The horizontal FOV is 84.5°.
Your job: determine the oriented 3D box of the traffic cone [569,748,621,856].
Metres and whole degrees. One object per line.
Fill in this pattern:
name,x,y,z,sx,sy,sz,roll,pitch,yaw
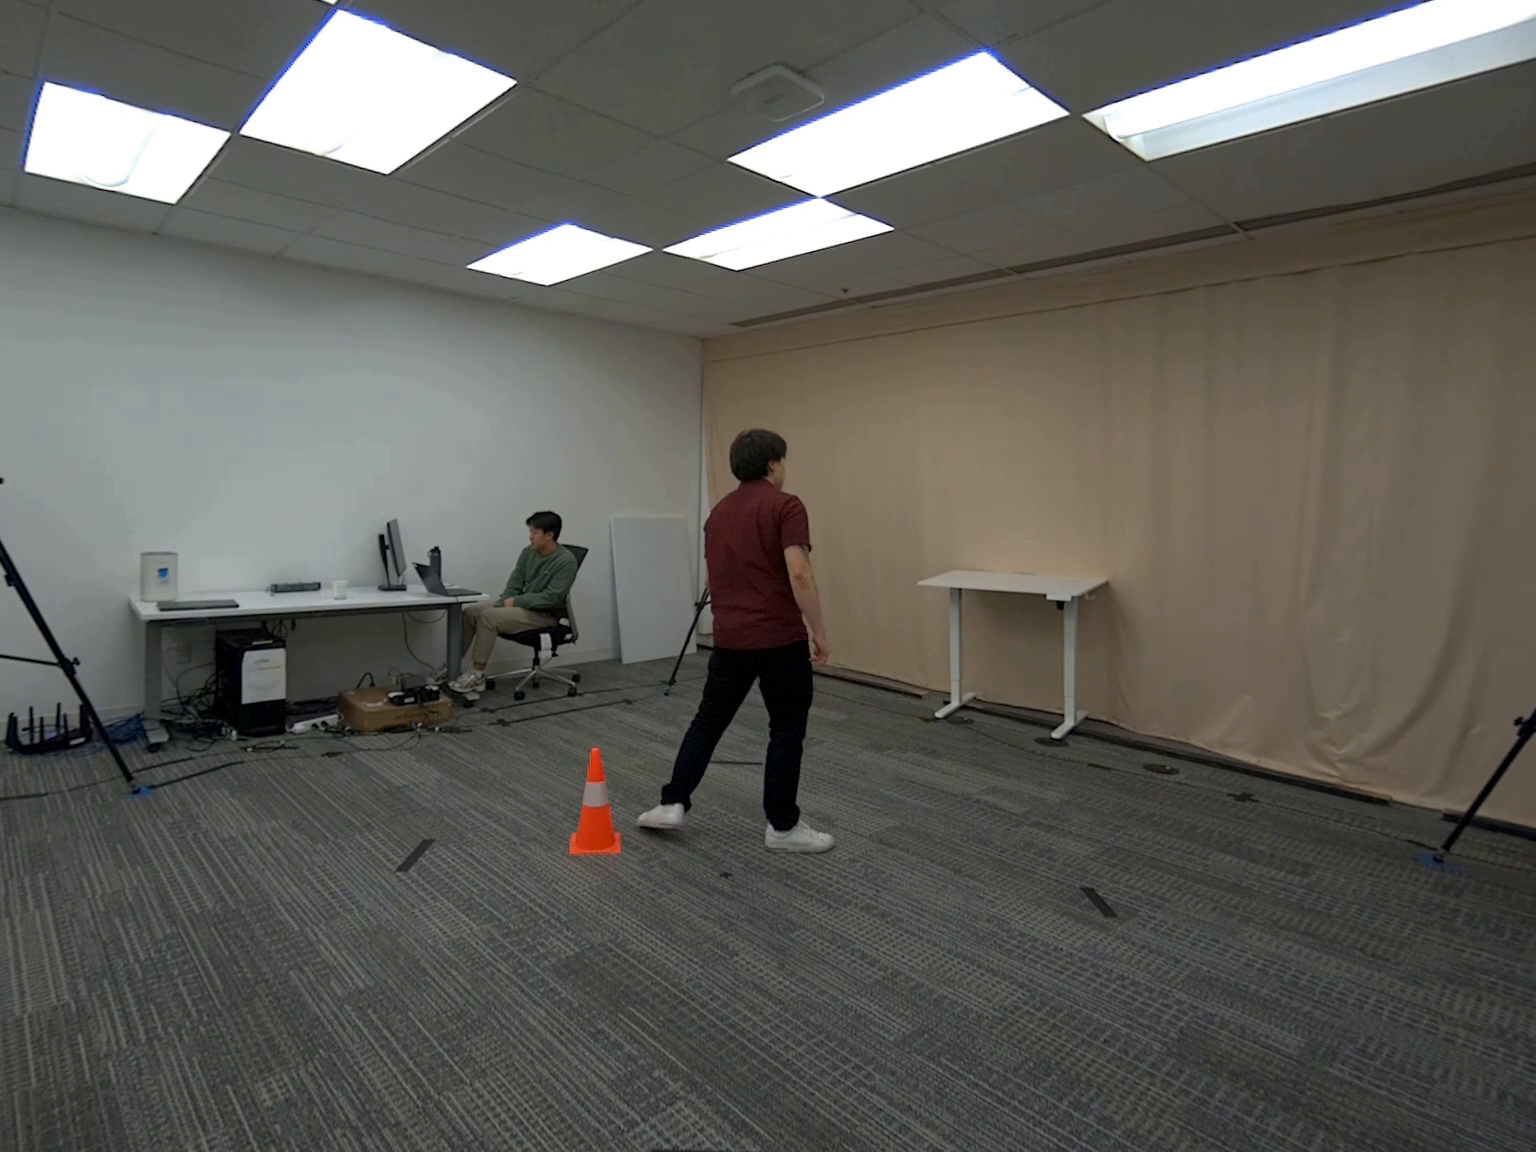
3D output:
traffic cone,-0.686,0.881,3.347,0.203,0.383,0.206,1,4,-13
